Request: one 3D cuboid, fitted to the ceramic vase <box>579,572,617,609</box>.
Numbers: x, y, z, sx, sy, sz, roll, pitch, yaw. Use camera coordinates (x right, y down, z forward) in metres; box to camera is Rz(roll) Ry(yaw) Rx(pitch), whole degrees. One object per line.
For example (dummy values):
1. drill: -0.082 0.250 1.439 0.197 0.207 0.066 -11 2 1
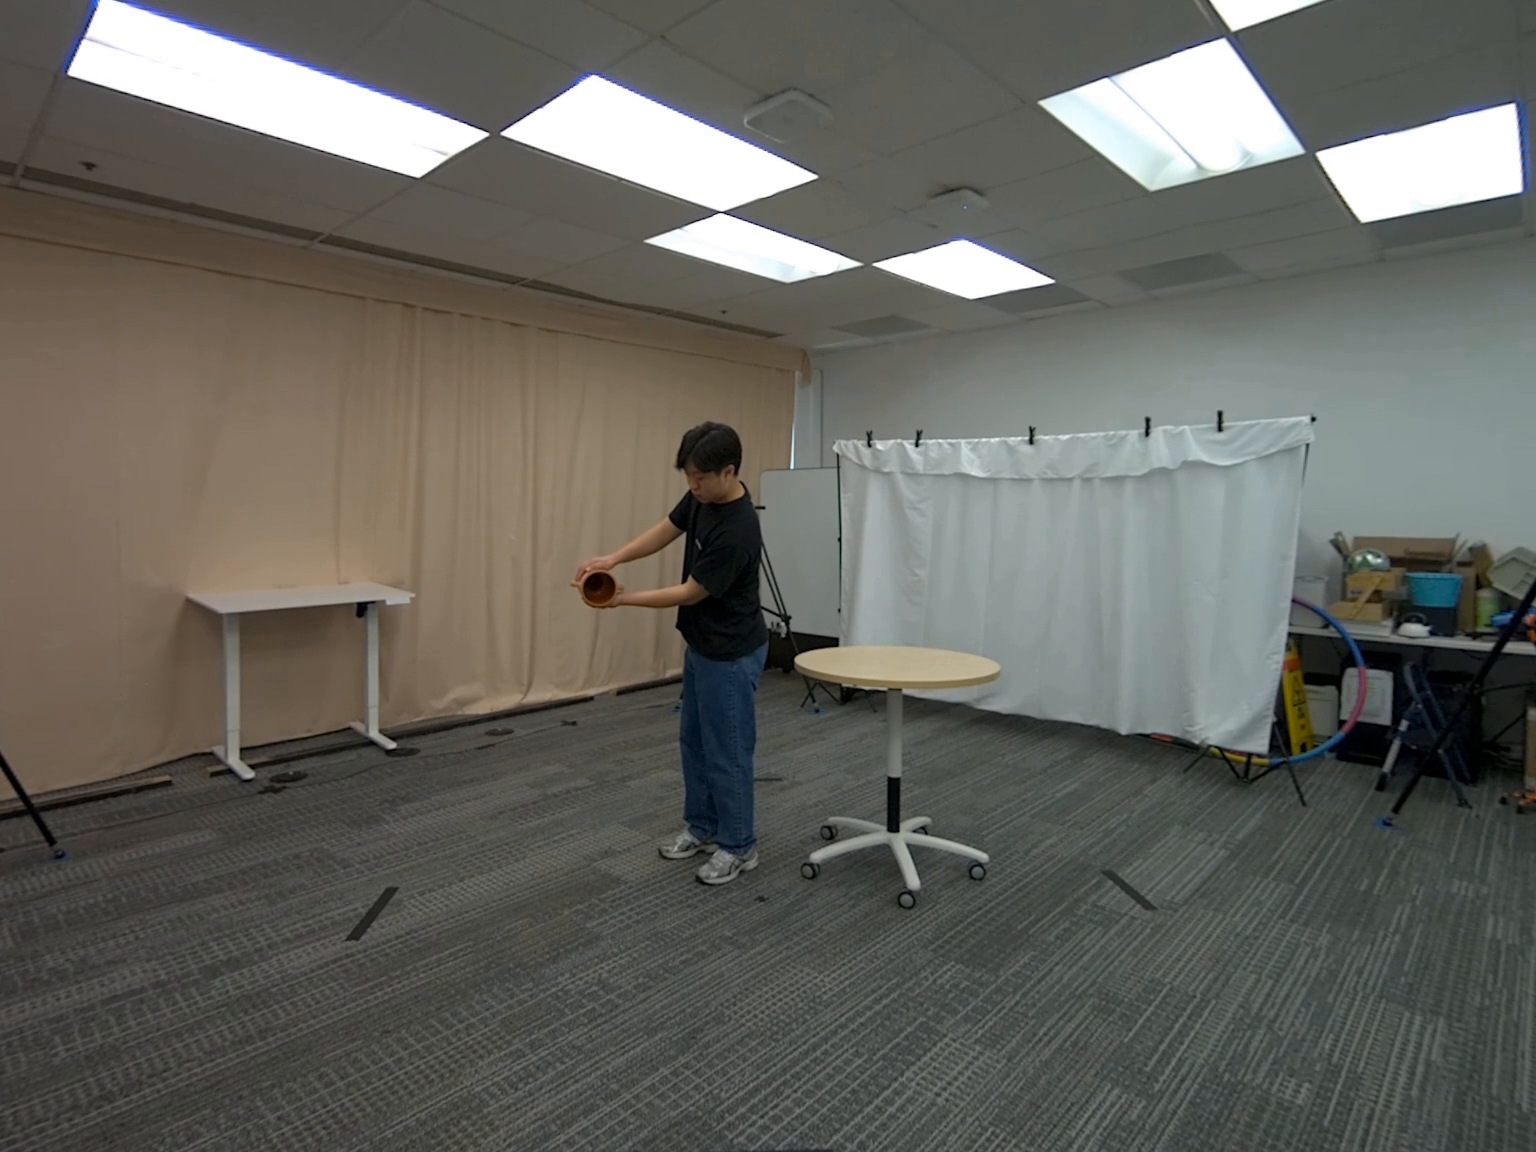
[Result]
1. ceramic vase: -0.631 0.031 3.117 0.134 0.156 0.225 -45 19 -8
